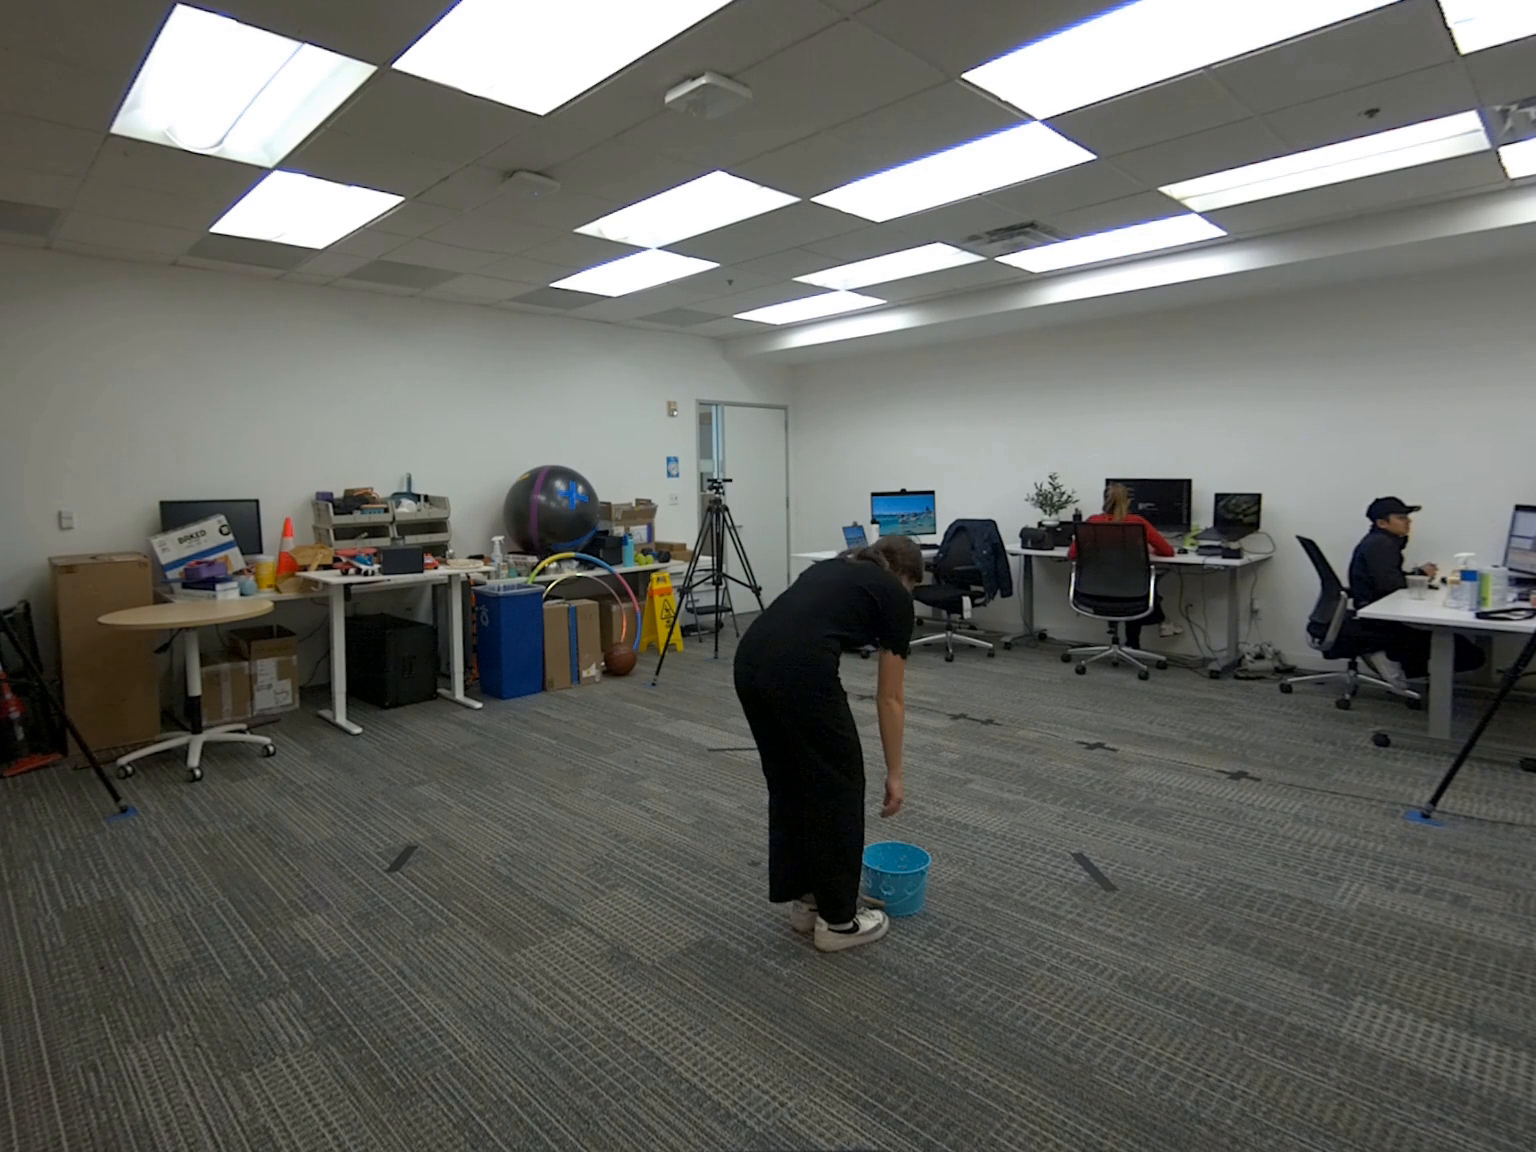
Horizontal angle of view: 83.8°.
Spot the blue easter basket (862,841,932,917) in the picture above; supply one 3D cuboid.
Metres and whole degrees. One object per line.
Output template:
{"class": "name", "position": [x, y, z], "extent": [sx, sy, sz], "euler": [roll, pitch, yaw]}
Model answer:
{"class": "blue easter basket", "position": [0.409, 0.990, 2.805], "extent": [0.243, 0.155, 0.245], "euler": [-1, 6, -2]}
